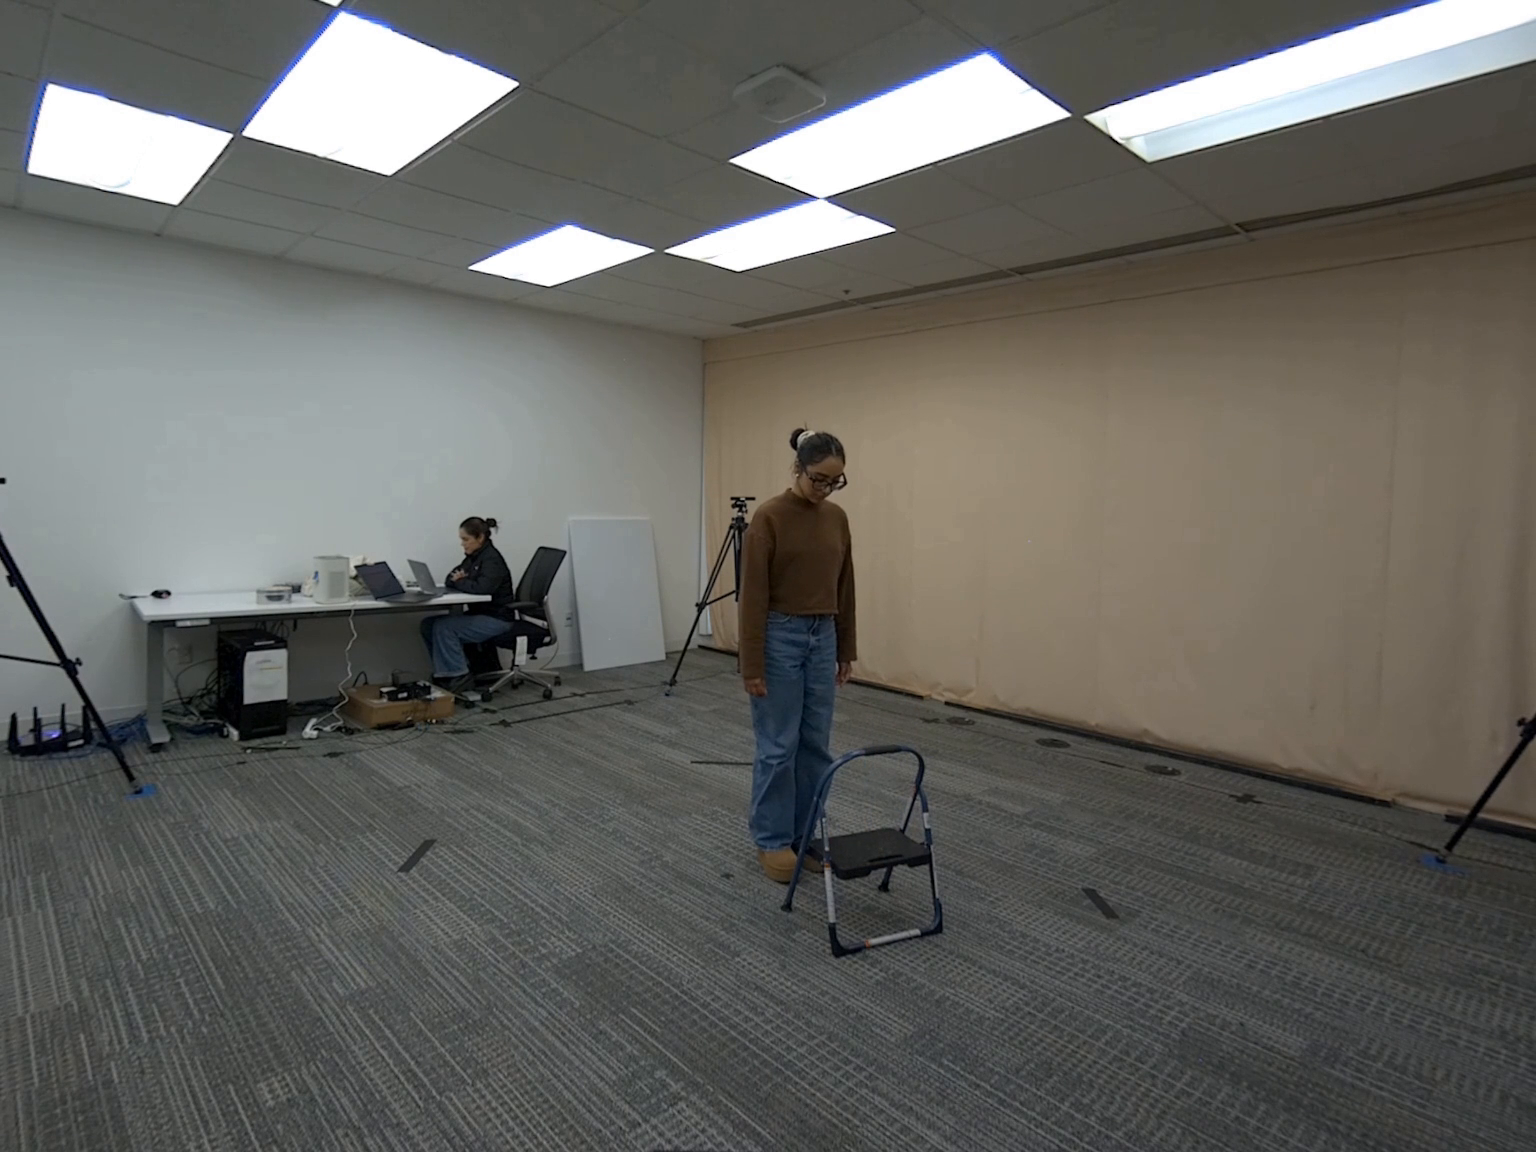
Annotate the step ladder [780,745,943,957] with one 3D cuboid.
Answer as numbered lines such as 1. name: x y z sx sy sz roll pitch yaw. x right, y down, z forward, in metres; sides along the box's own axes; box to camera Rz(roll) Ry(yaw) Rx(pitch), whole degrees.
1. step ladder: 0.313 0.841 2.785 0.423 0.605 0.356 0 4 -26
